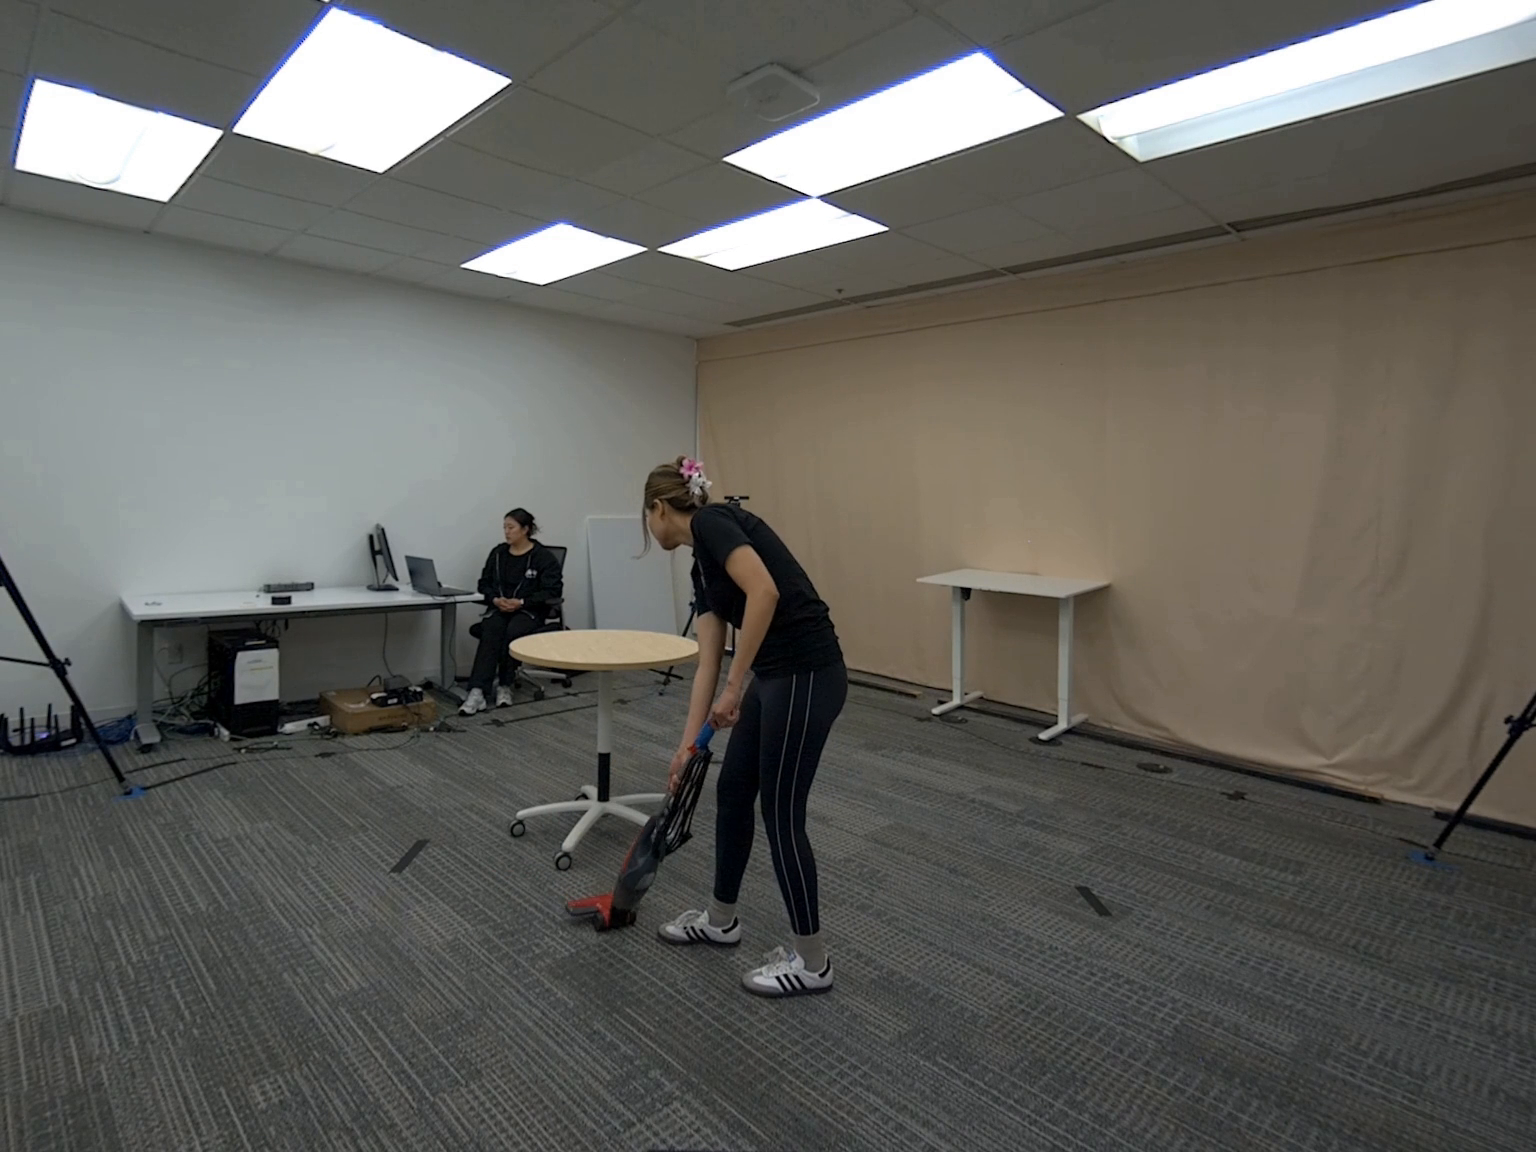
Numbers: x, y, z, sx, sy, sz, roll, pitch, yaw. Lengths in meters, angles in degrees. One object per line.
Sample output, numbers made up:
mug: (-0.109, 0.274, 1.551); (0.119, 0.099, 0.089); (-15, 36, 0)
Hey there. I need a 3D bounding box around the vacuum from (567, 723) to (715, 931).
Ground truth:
vacuum: (-0.334, 0.734, 2.477); (0.247, 1.040, 0.148); (1, 43, -33)
